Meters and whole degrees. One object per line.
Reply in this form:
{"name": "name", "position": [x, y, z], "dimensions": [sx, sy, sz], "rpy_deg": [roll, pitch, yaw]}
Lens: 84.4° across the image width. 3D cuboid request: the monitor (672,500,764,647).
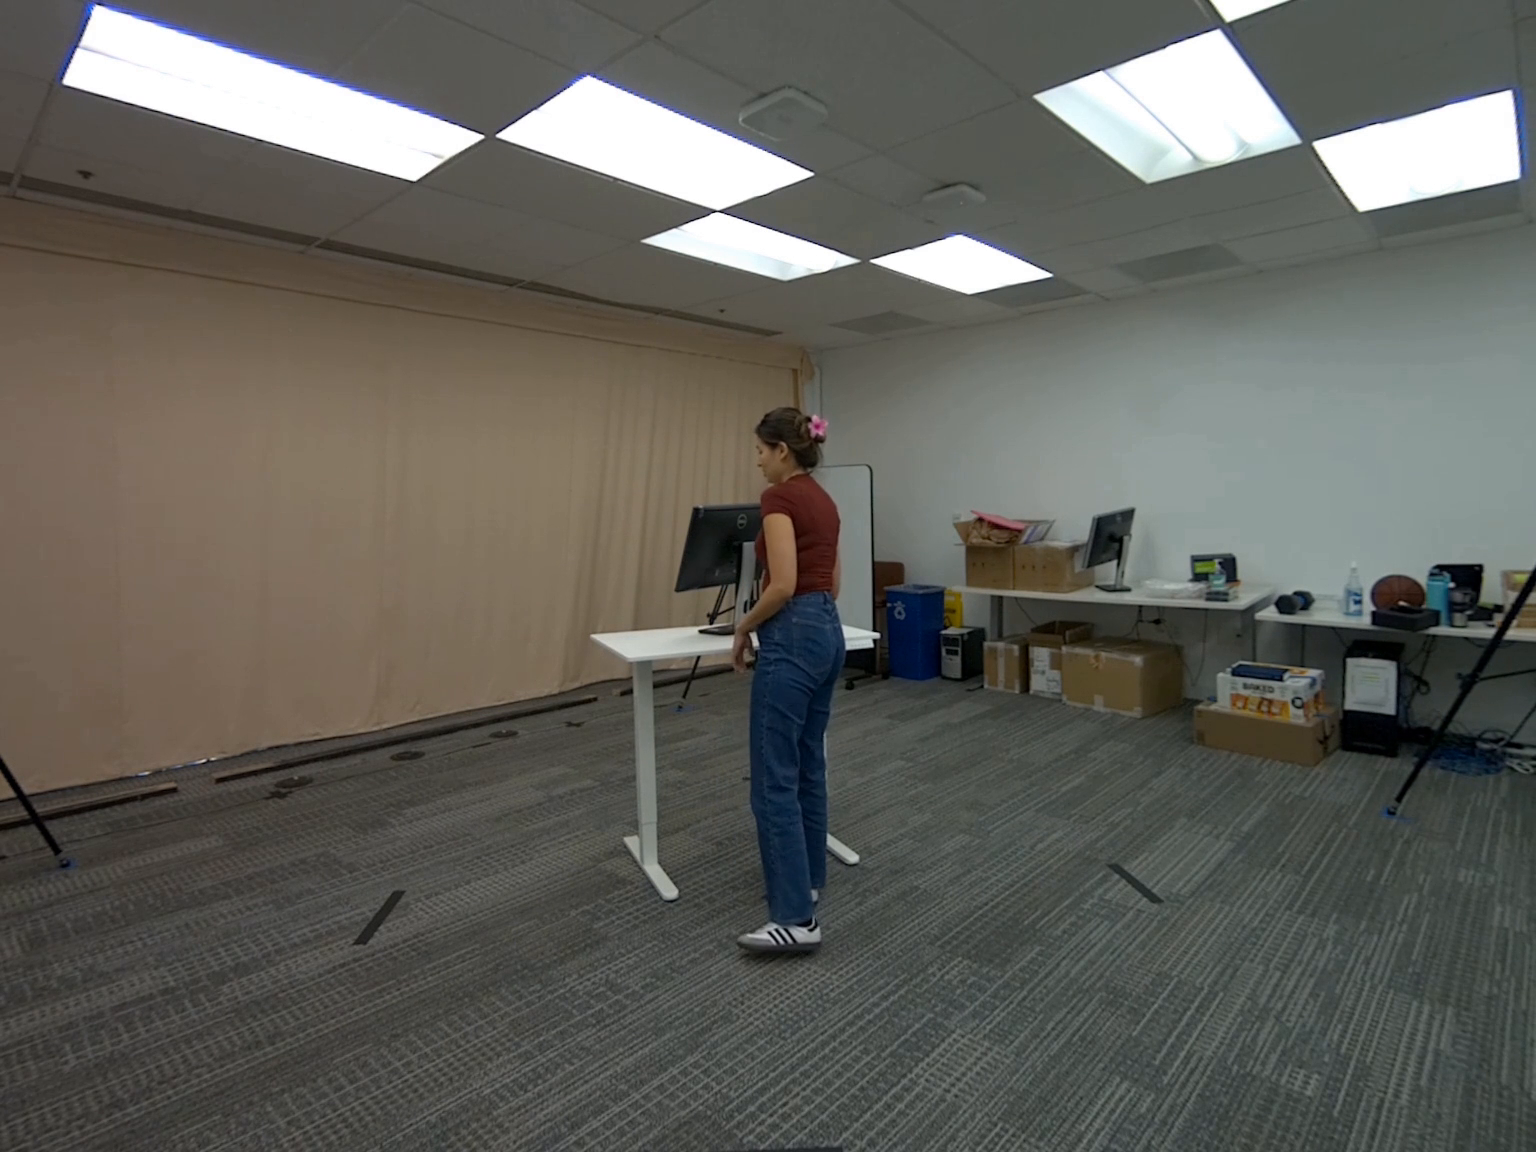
{"name": "monitor", "position": [-0.136, -0.031, 3.415], "dimensions": [0.193, 0.520, 0.524], "rpy_deg": [6, 8, 36]}
